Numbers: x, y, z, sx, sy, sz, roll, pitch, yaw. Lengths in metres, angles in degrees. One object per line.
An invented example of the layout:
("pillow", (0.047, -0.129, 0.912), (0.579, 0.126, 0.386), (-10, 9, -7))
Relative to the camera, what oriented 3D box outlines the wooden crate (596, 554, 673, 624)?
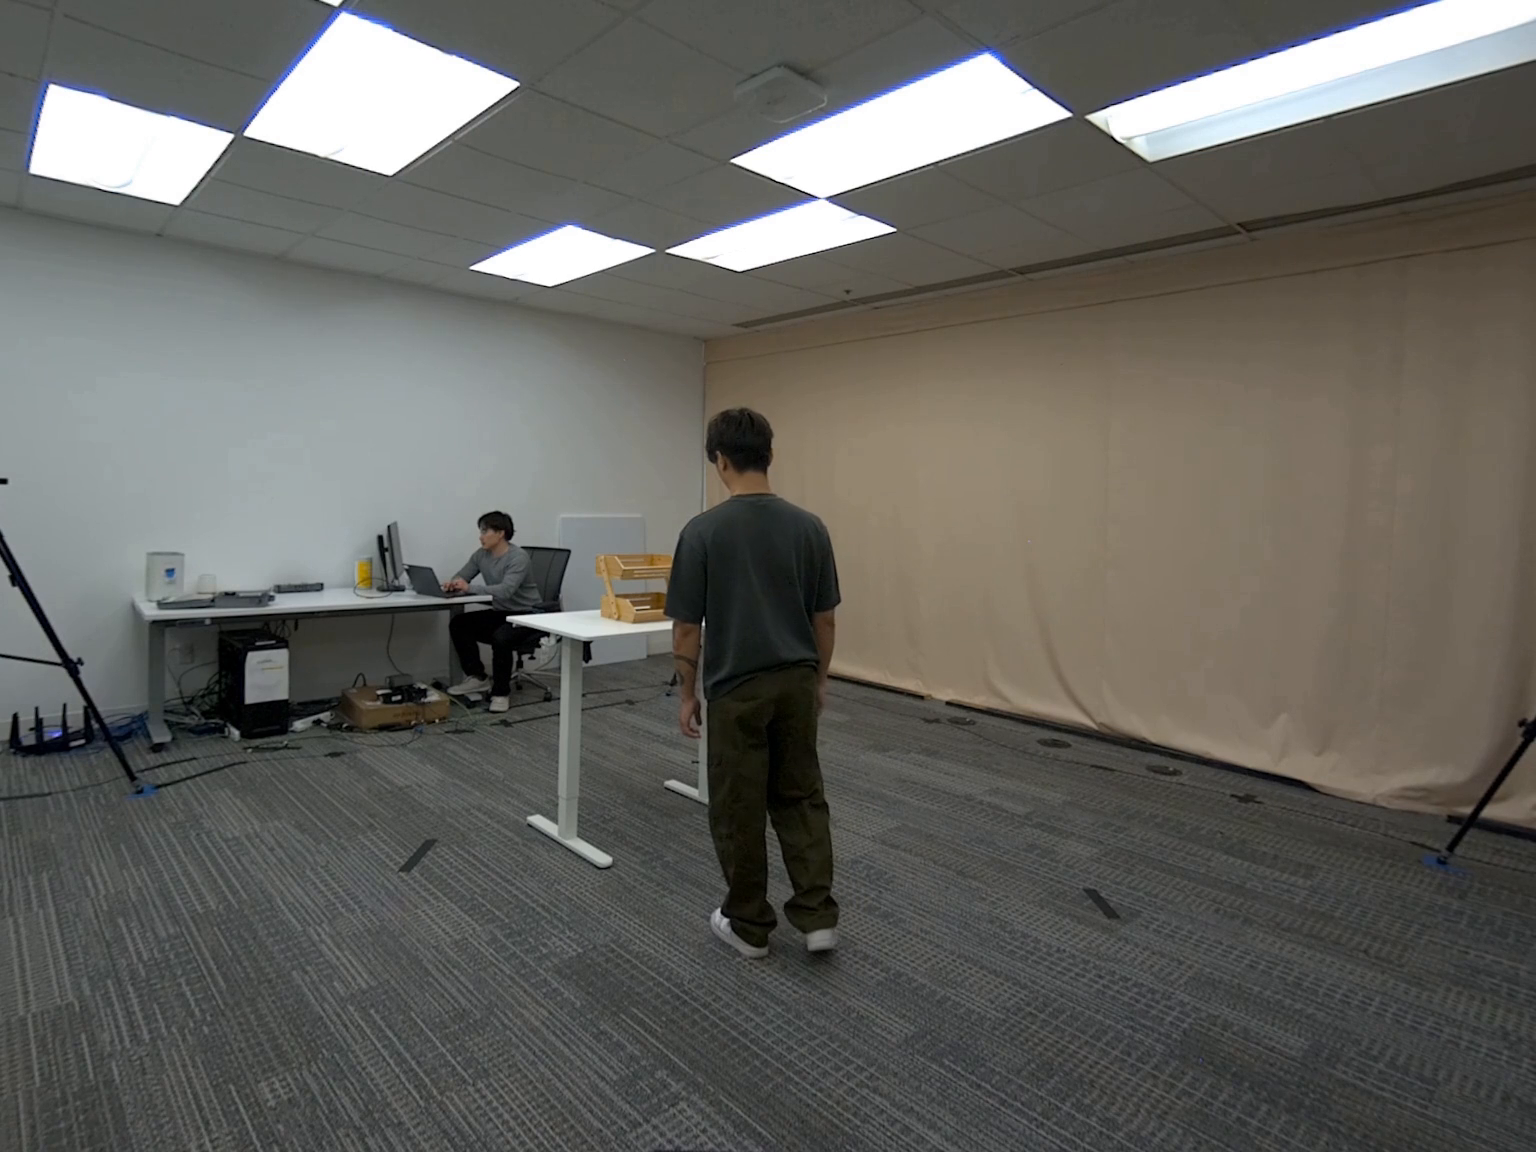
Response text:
("wooden crate", (-0.530, 0.042, 3.559), (0.317, 0.273, 0.310), (-1, 4, -43))
